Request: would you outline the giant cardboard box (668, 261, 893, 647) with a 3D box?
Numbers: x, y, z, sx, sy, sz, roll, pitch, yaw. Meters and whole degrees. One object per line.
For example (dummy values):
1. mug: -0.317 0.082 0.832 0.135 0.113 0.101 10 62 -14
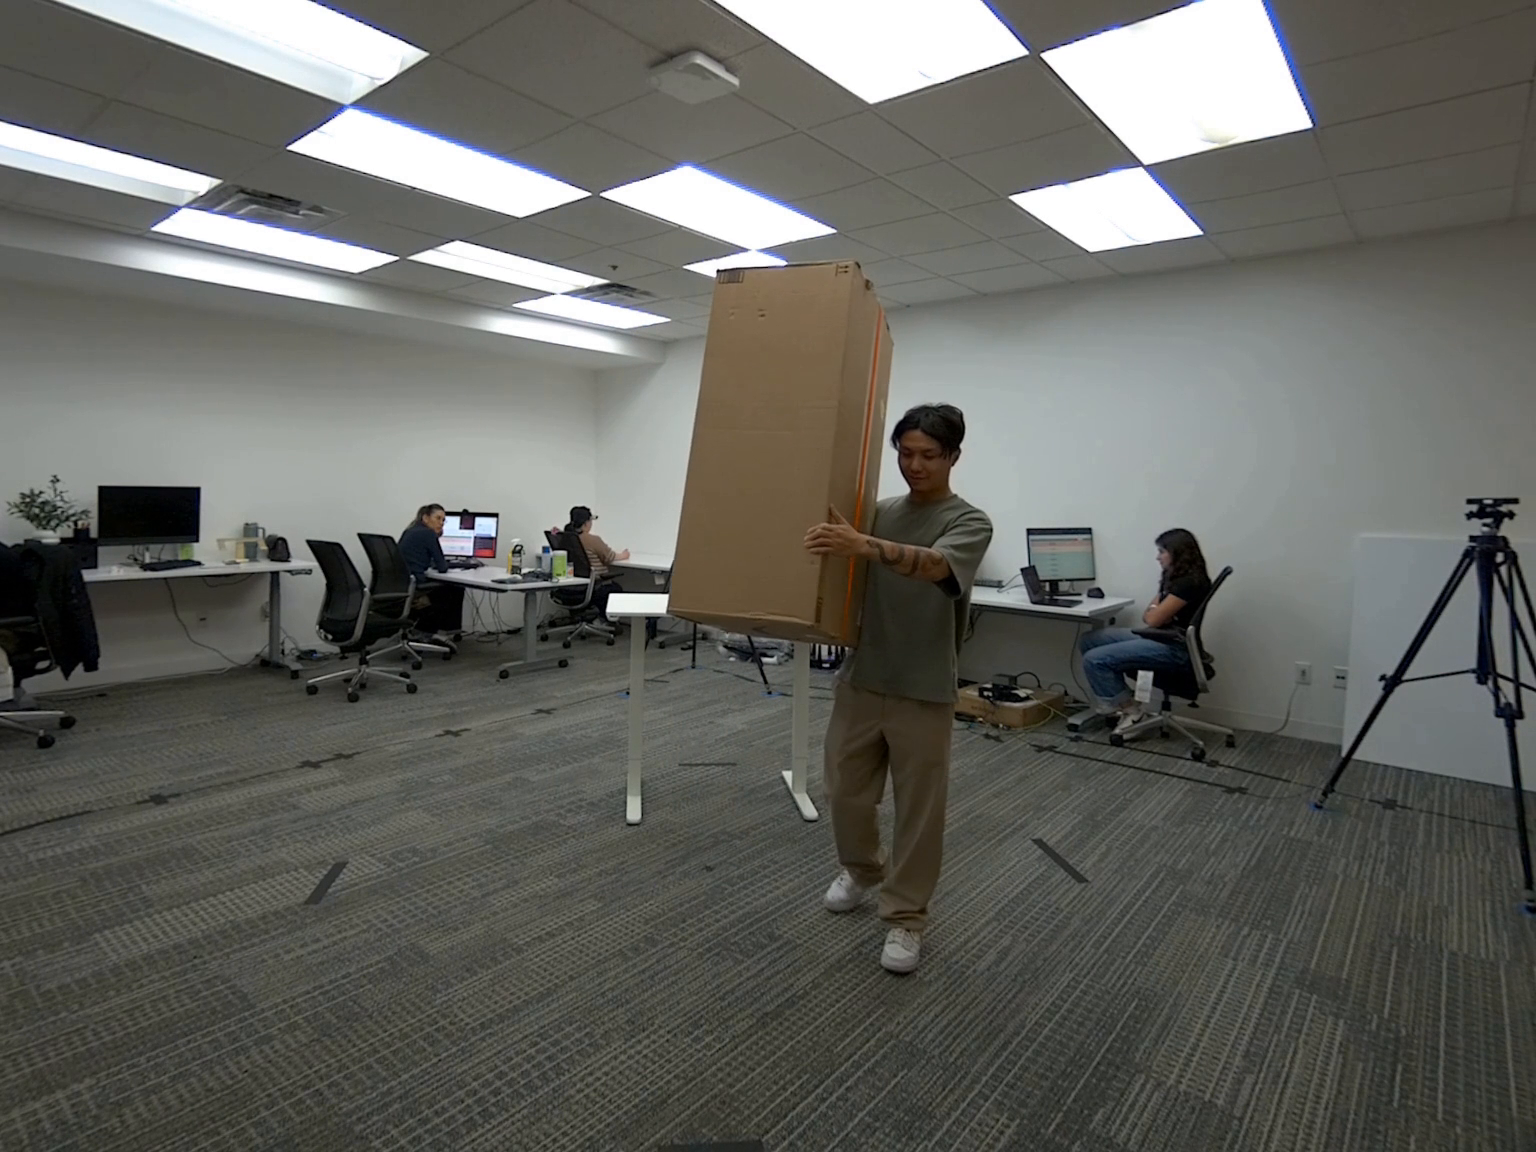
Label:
1. giant cardboard box: 0.060 -0.334 2.574 0.436 1.034 0.559 4 -11 20
